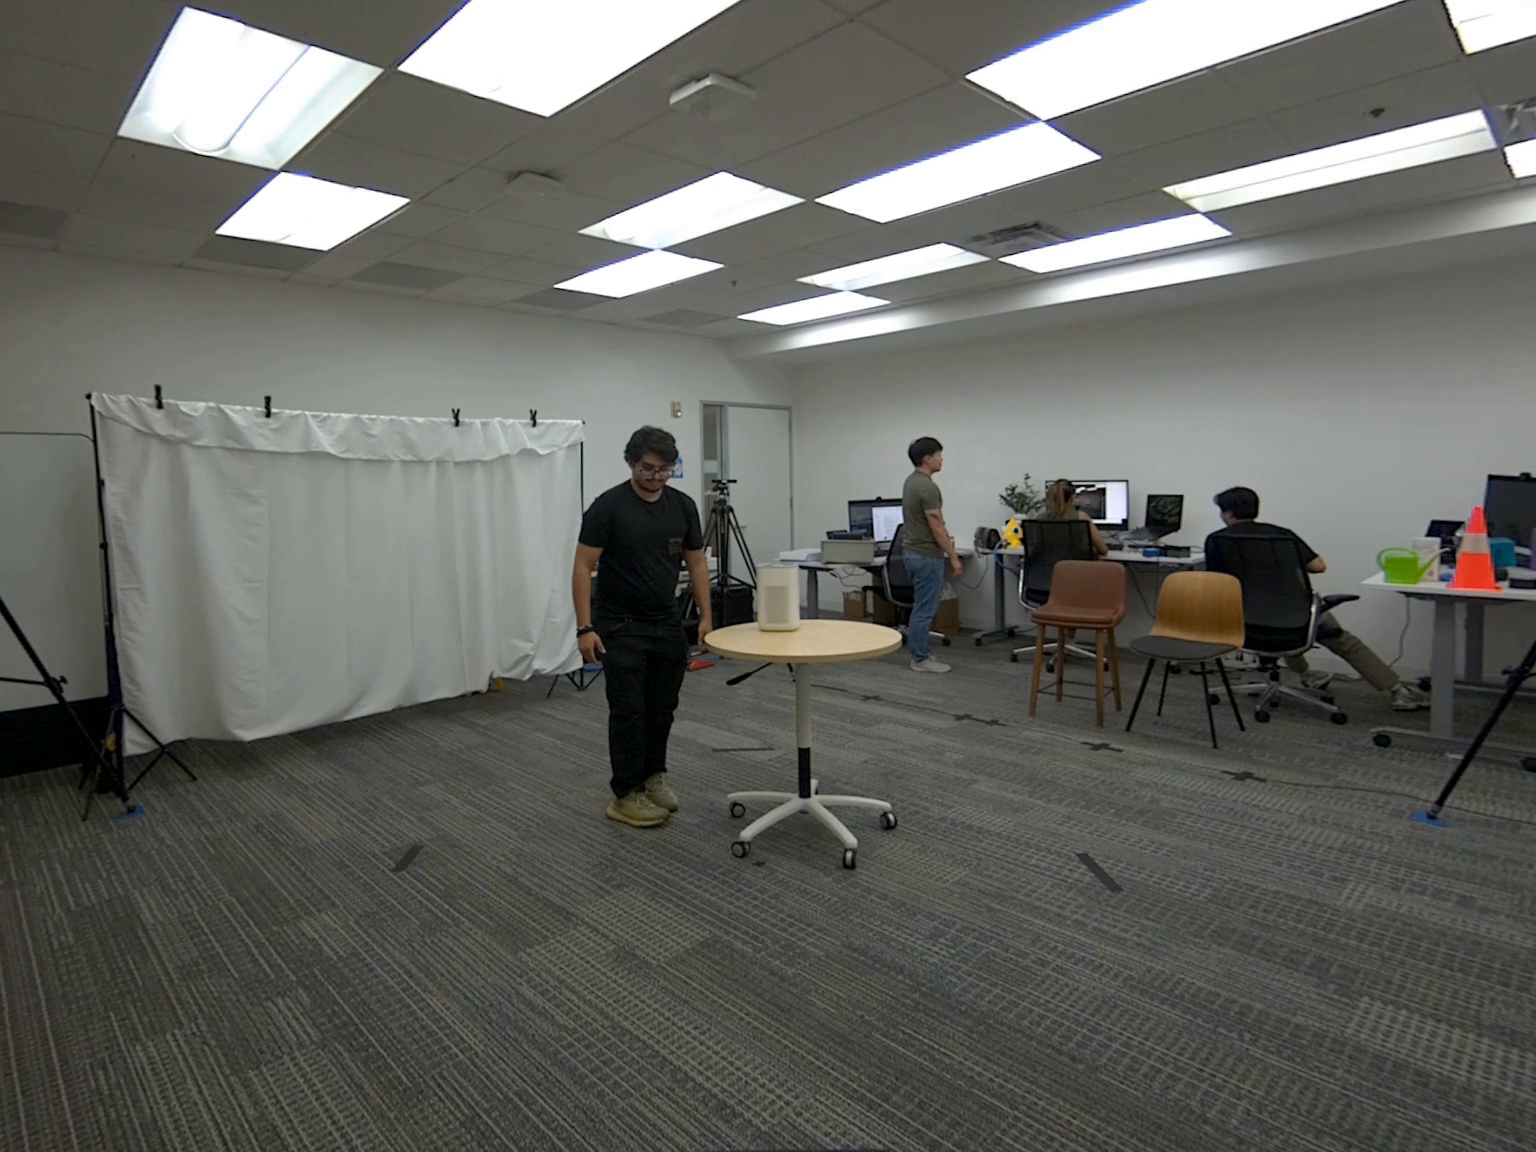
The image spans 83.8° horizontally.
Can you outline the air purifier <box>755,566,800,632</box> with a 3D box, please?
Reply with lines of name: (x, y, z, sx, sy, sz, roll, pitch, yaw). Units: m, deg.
air purifier: (0.045, 0.085, 3.508, 0.173, 0.265, 0.170, 0, 3, 5)
